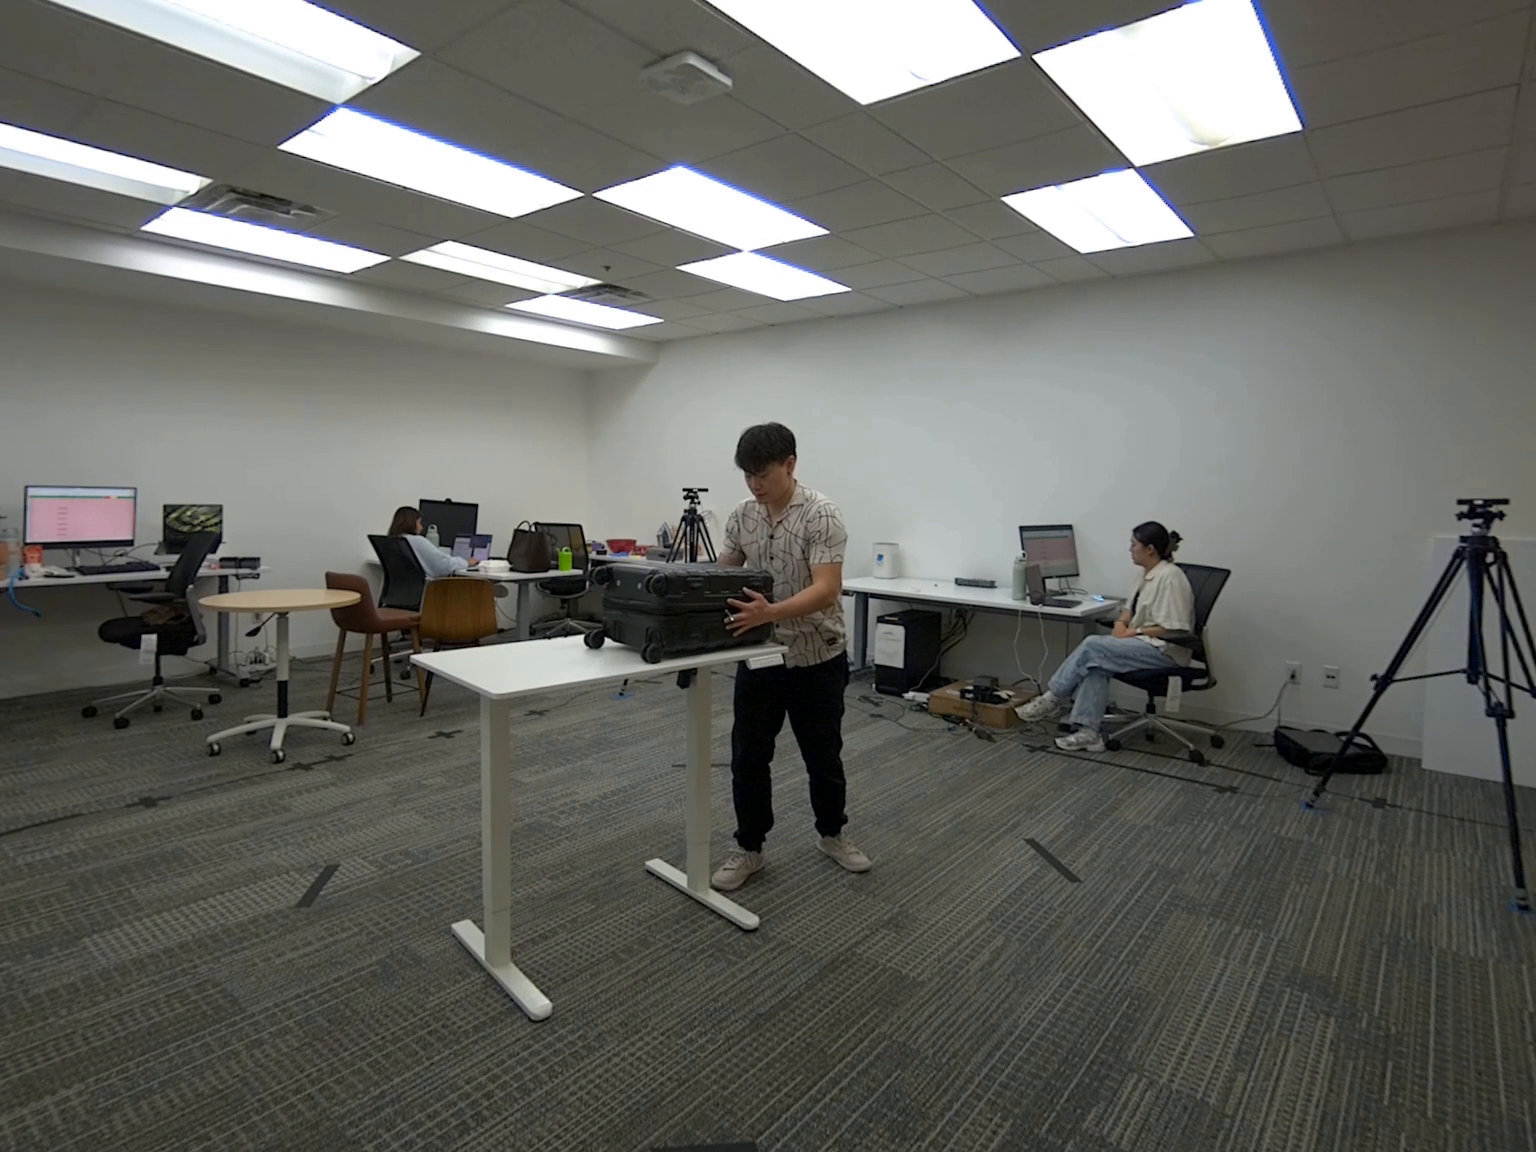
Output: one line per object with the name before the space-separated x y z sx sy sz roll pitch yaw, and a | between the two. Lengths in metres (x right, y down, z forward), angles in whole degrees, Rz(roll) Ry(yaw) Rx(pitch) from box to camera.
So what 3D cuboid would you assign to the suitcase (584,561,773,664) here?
suitcase | -0.267 0.091 2.738 0.532 0.247 0.388 -2 7 -43
